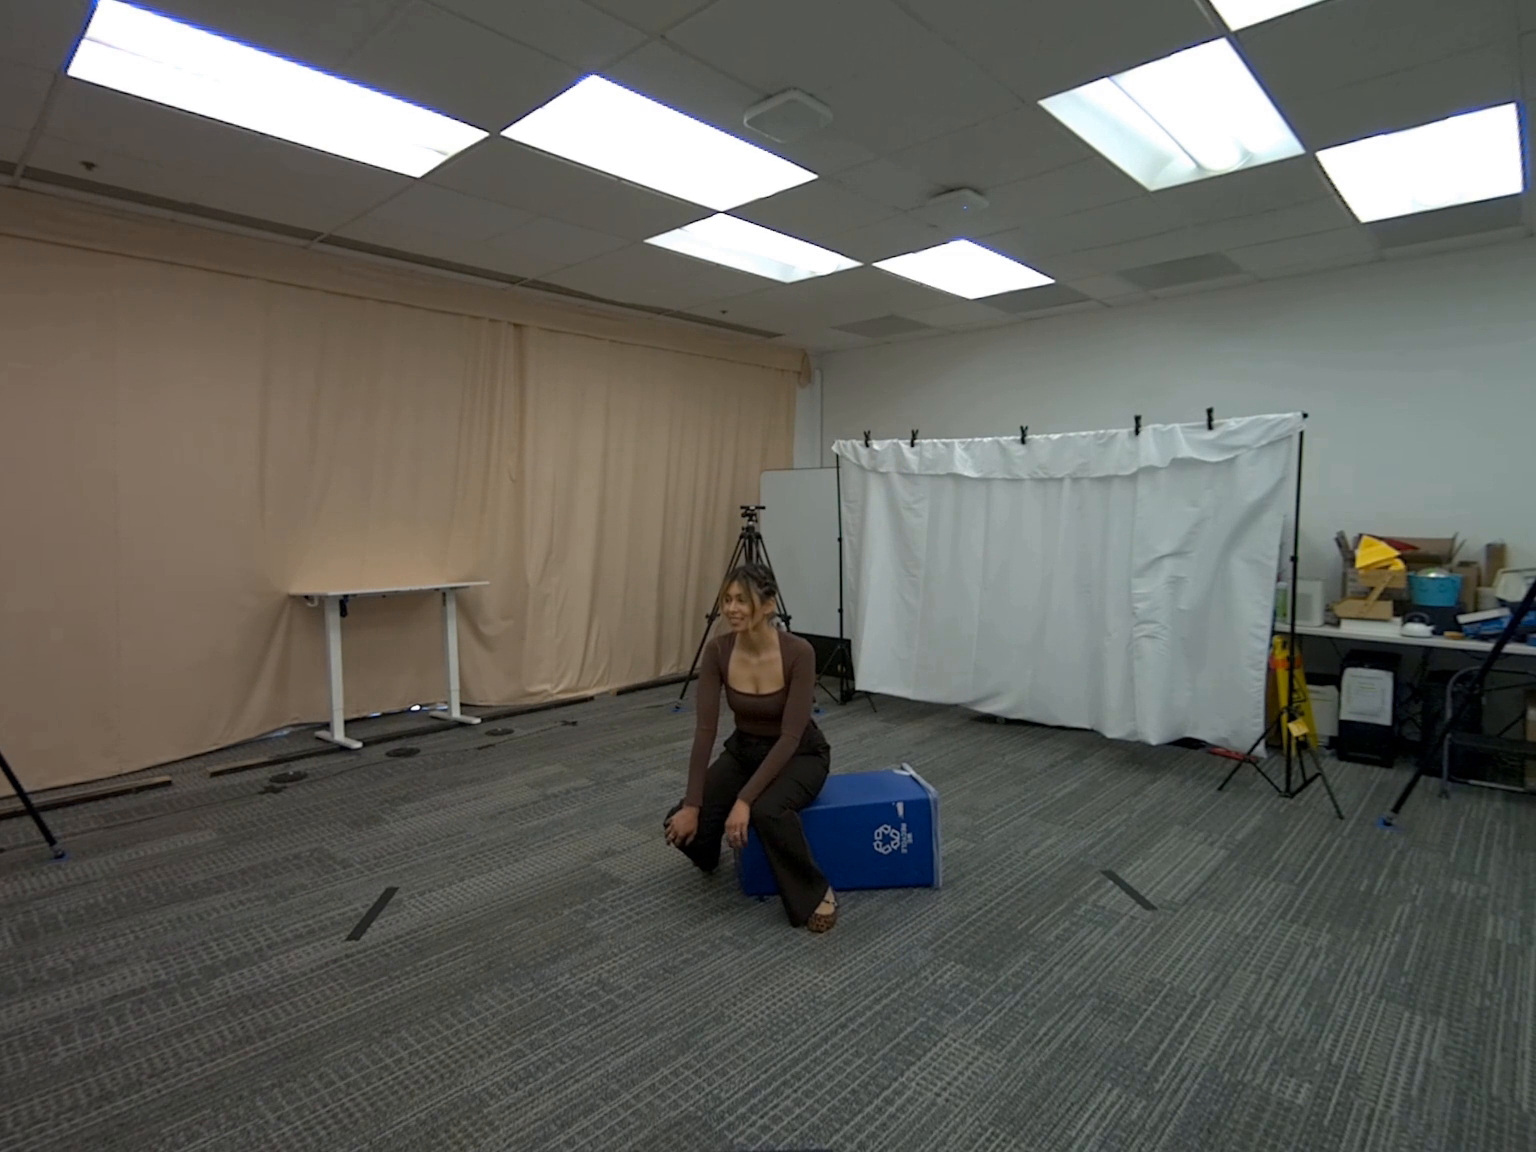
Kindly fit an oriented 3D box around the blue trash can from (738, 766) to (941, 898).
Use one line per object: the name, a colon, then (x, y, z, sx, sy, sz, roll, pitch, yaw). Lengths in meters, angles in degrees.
blue trash can: (0.248, 0.962, 3.161, 0.708, 0.377, 0.378, -4, 5, -7)
